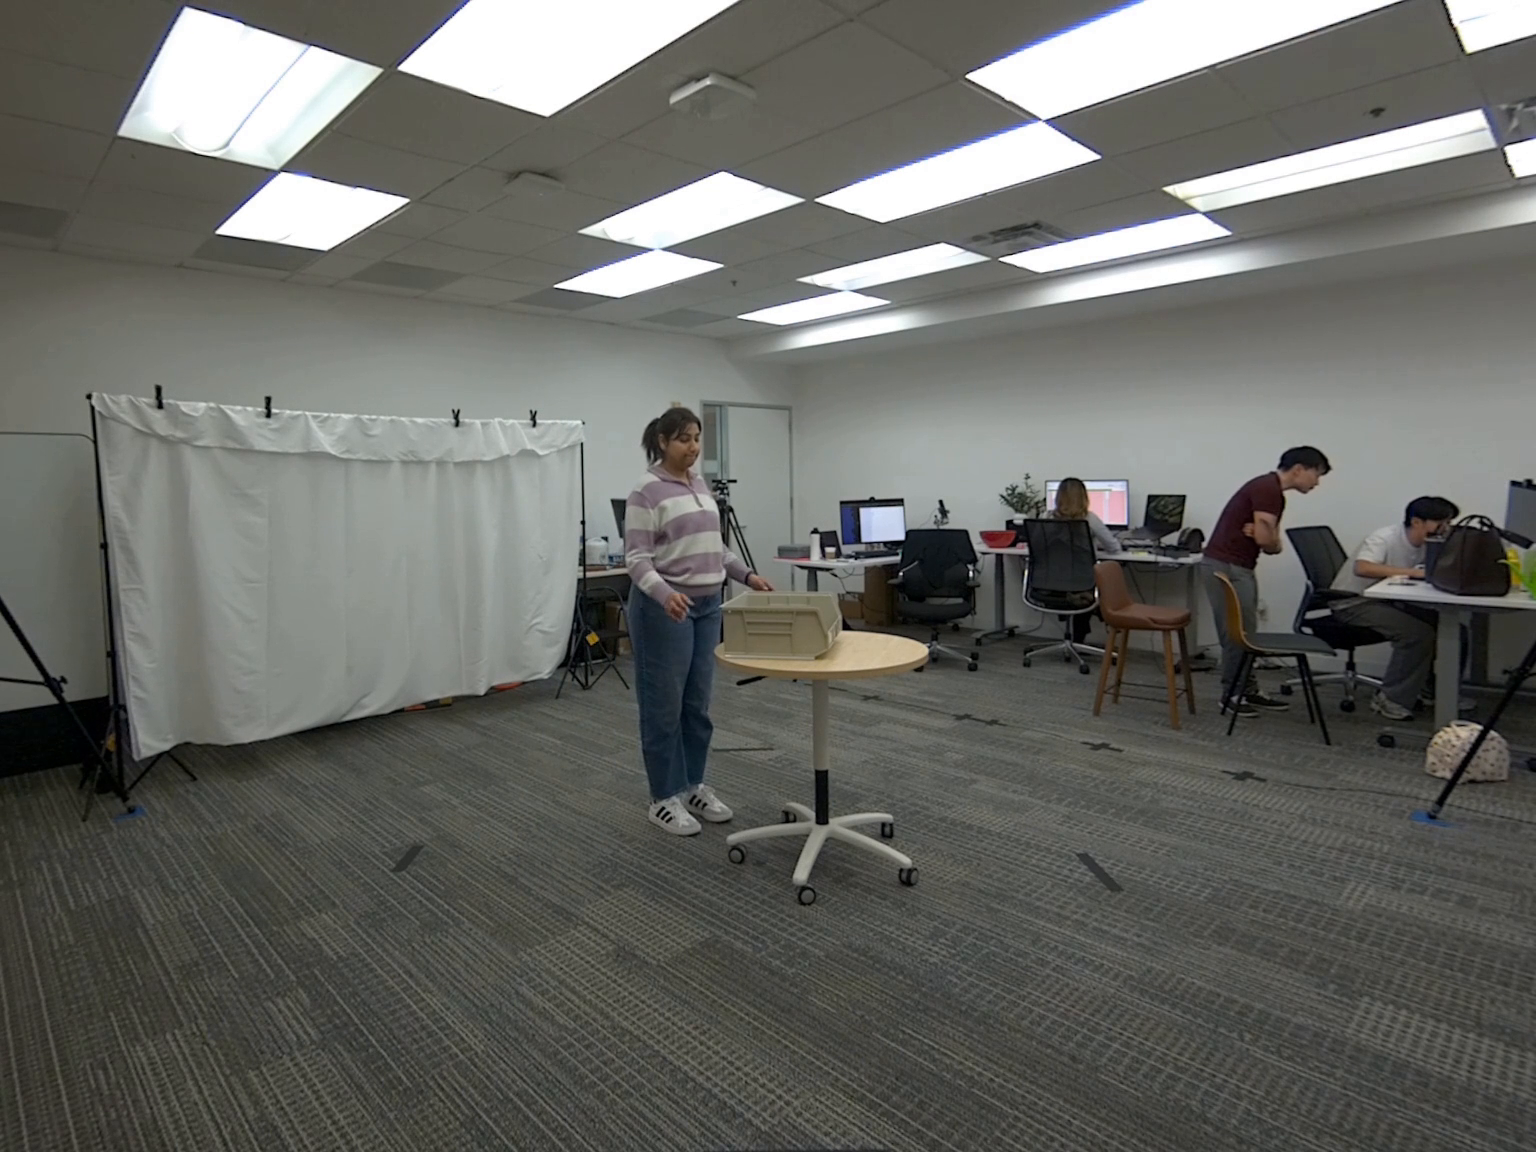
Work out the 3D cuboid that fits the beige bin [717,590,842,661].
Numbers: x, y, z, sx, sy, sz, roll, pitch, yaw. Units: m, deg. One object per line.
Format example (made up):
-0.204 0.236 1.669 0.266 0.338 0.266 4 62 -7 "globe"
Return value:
0.069 0.173 3.099 0.382 0.188 0.419 -2 5 12 "beige bin"
